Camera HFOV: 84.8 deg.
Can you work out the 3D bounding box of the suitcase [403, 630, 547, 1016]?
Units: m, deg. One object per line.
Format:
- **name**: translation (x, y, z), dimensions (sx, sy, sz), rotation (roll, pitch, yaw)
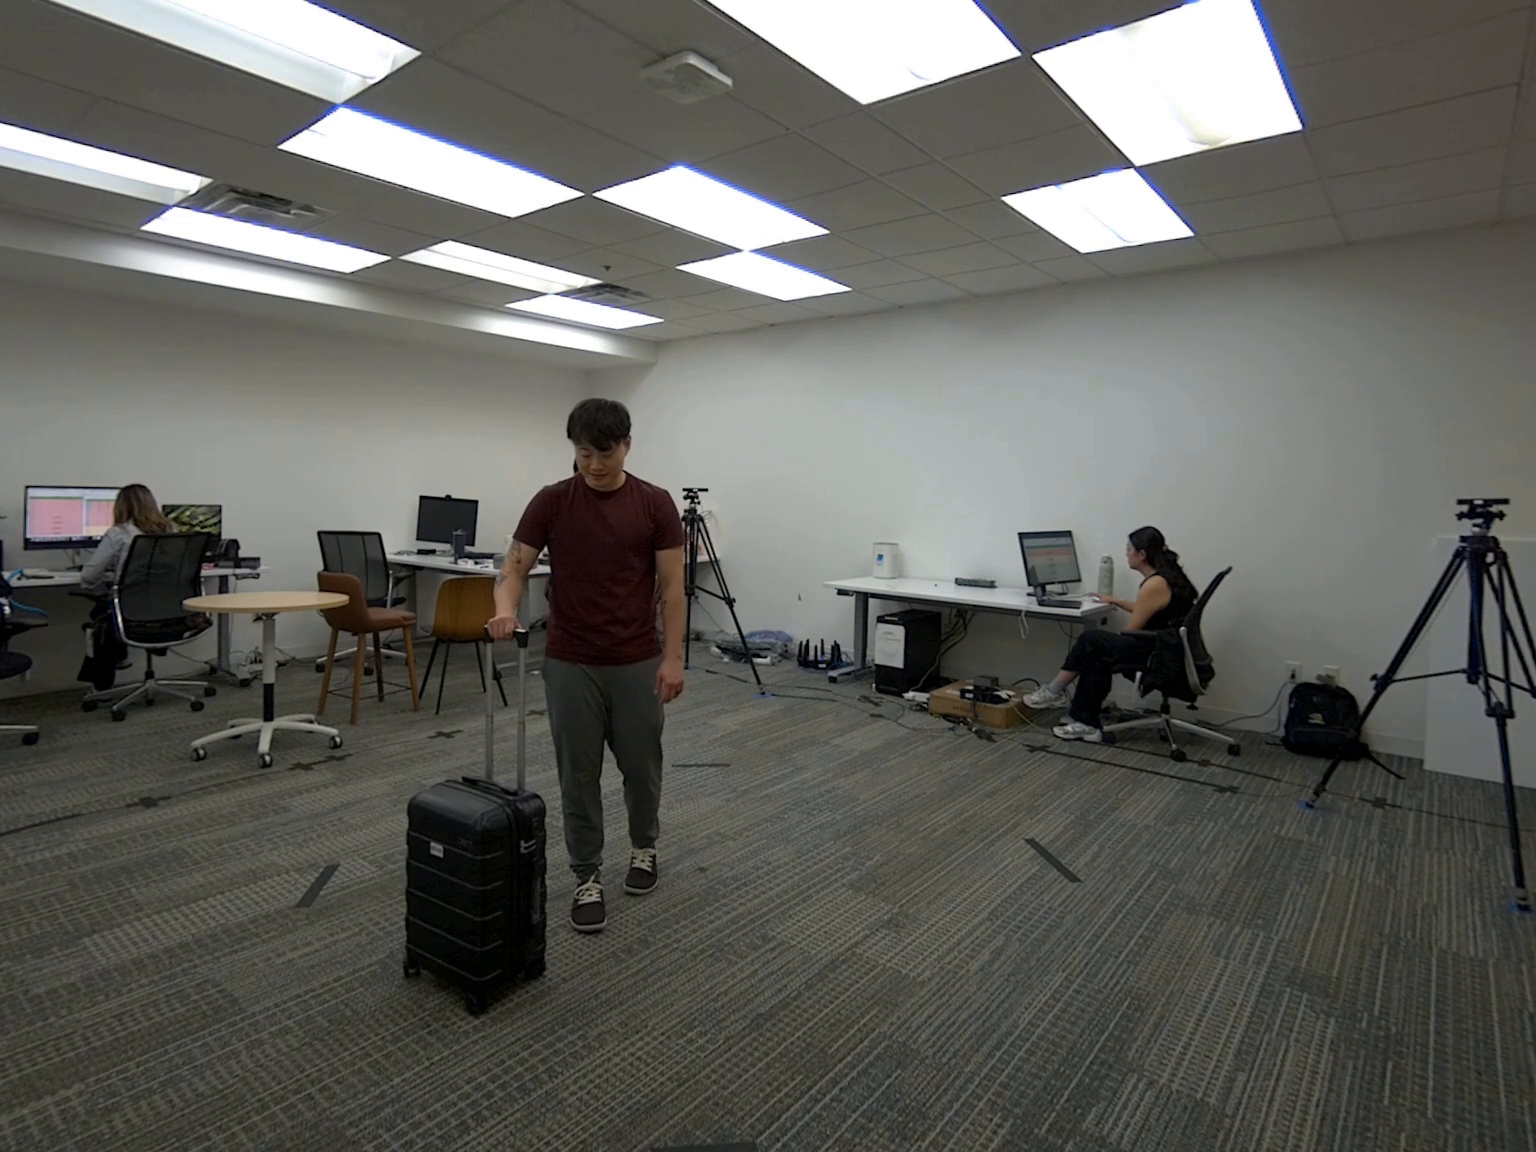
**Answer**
- **suitcase**: translation (-0.823, 0.660, 2.359), dimensions (0.396, 0.974, 0.250), rotation (6, 6, 33)
